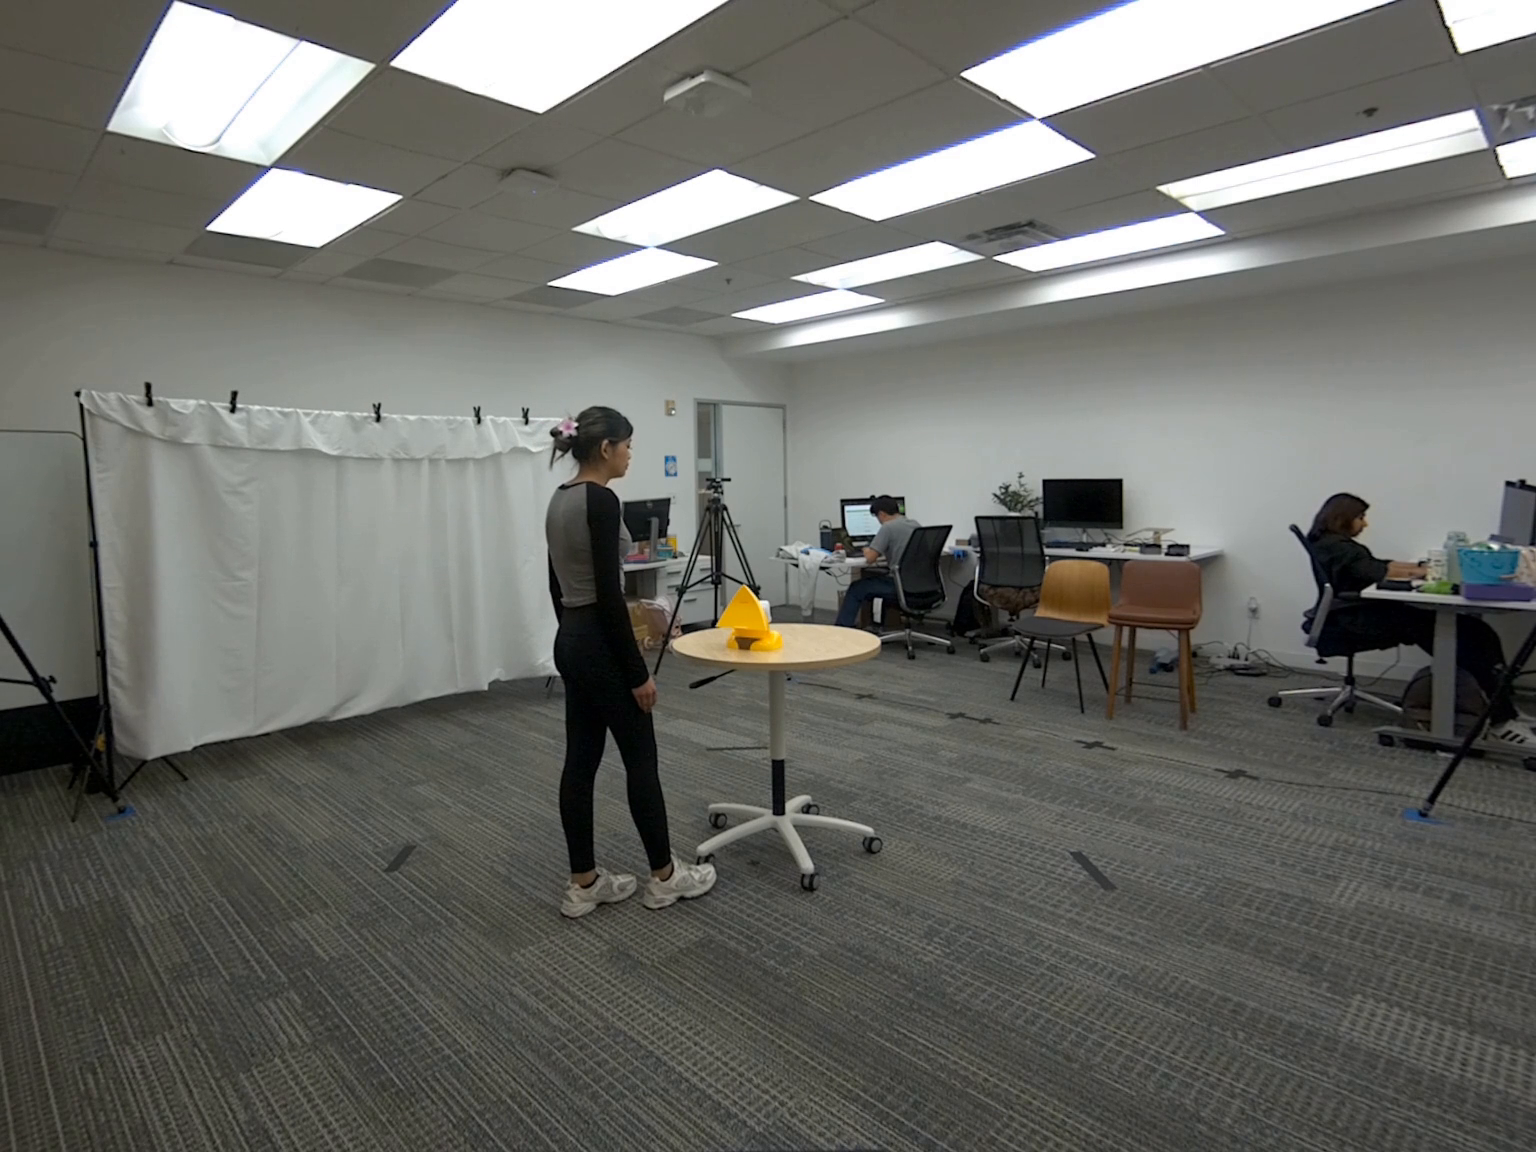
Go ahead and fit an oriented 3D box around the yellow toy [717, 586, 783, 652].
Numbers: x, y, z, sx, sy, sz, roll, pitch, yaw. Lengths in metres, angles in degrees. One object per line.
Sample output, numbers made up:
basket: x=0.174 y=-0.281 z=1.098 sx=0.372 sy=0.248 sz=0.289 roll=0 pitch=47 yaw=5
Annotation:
yellow toy: x=-0.054 y=0.138 z=3.068 sx=0.210 sy=0.230 sz=0.189 roll=2 pitch=5 yaw=29
